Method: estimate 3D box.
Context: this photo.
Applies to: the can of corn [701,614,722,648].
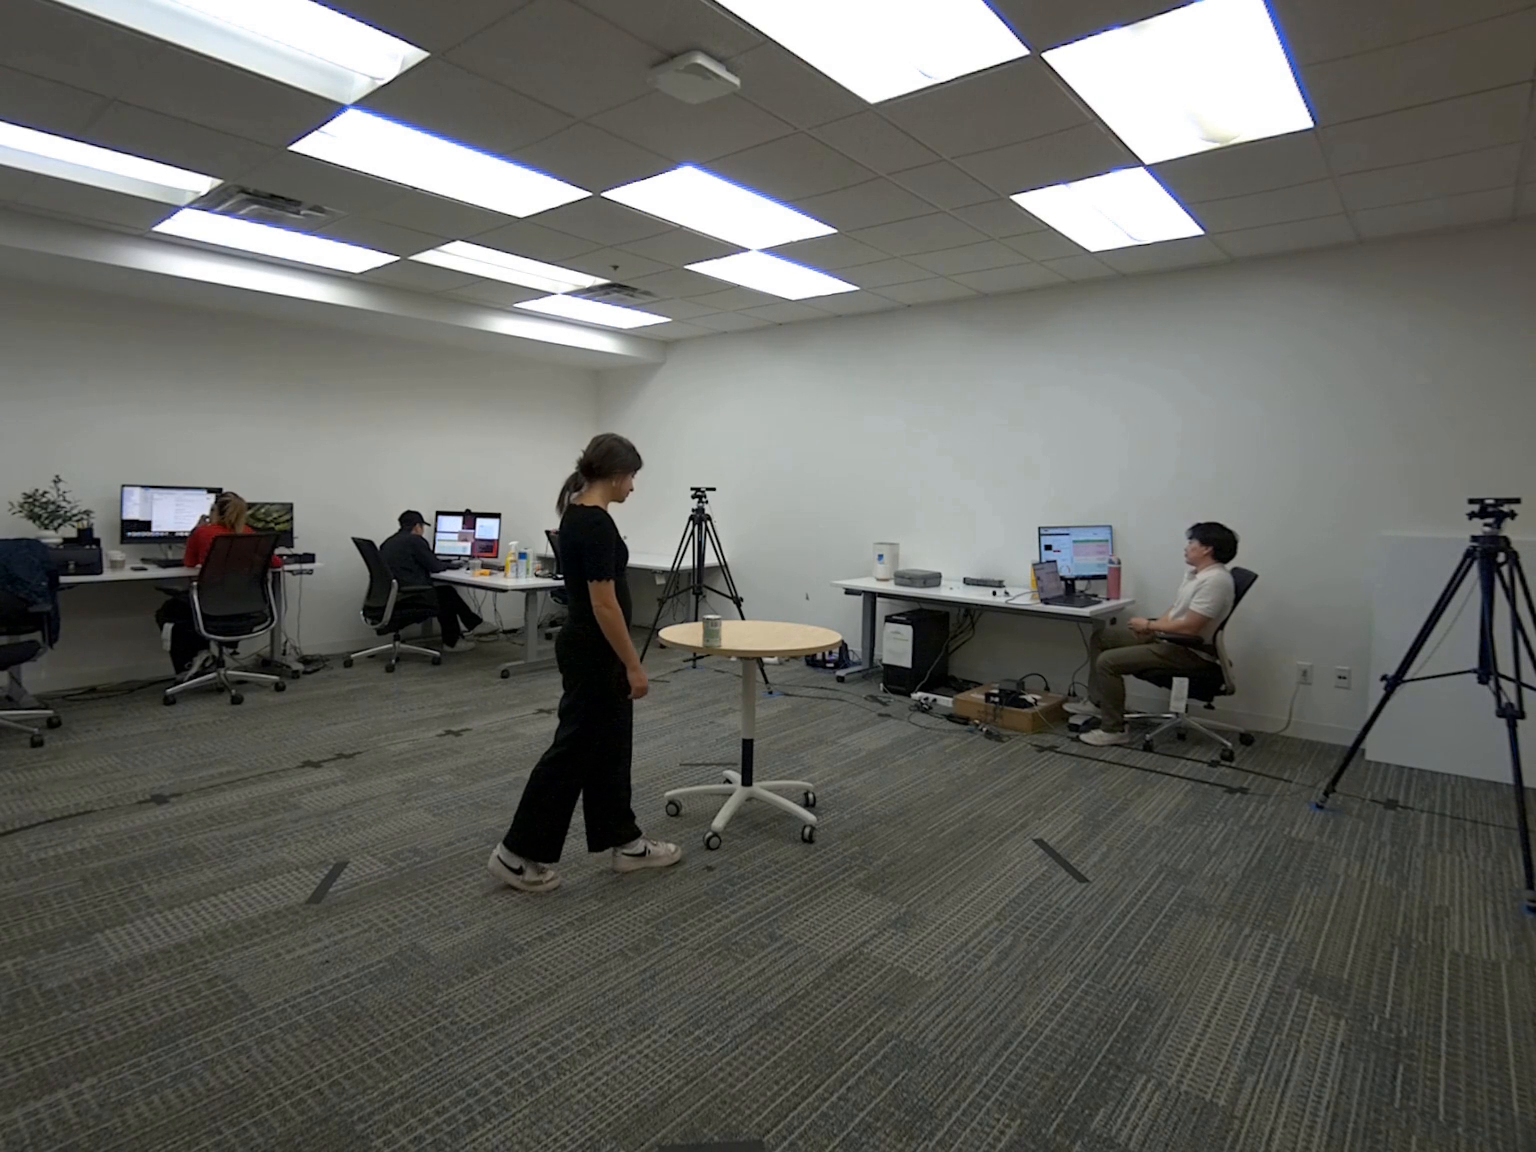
[{"bbox_3d":[-0.229,0.211,3.266,0.074,0.111,0.074,0,3,-2],"label":"can of corn"}]
